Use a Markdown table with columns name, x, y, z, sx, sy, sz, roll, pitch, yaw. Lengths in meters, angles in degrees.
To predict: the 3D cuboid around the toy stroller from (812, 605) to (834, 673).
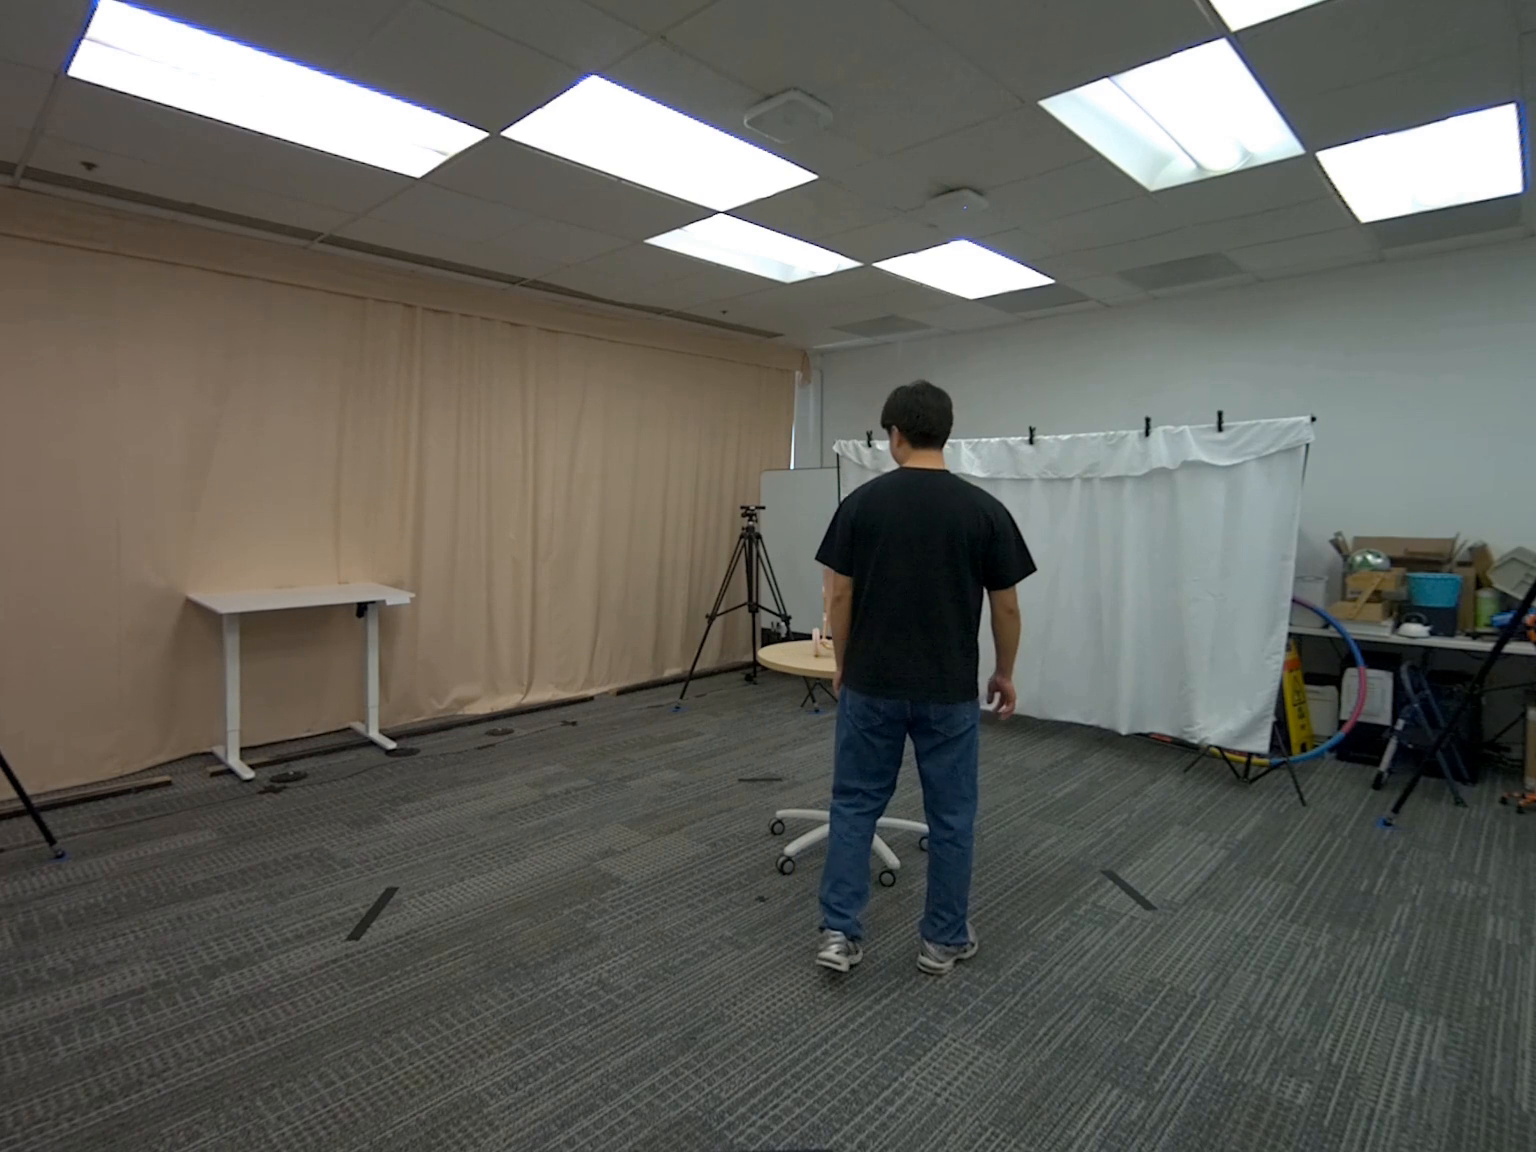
| name | x | y | z | sx | sy | sz | roll | pitch | yaw |
| --- | --- | --- | --- | --- | --- | --- | --- | --- | --- |
| toy stroller | 0.333 | 0.091 | 3.363 | 0.285 | 0.529 | 0.340 | 2 | 18 | 12 |
